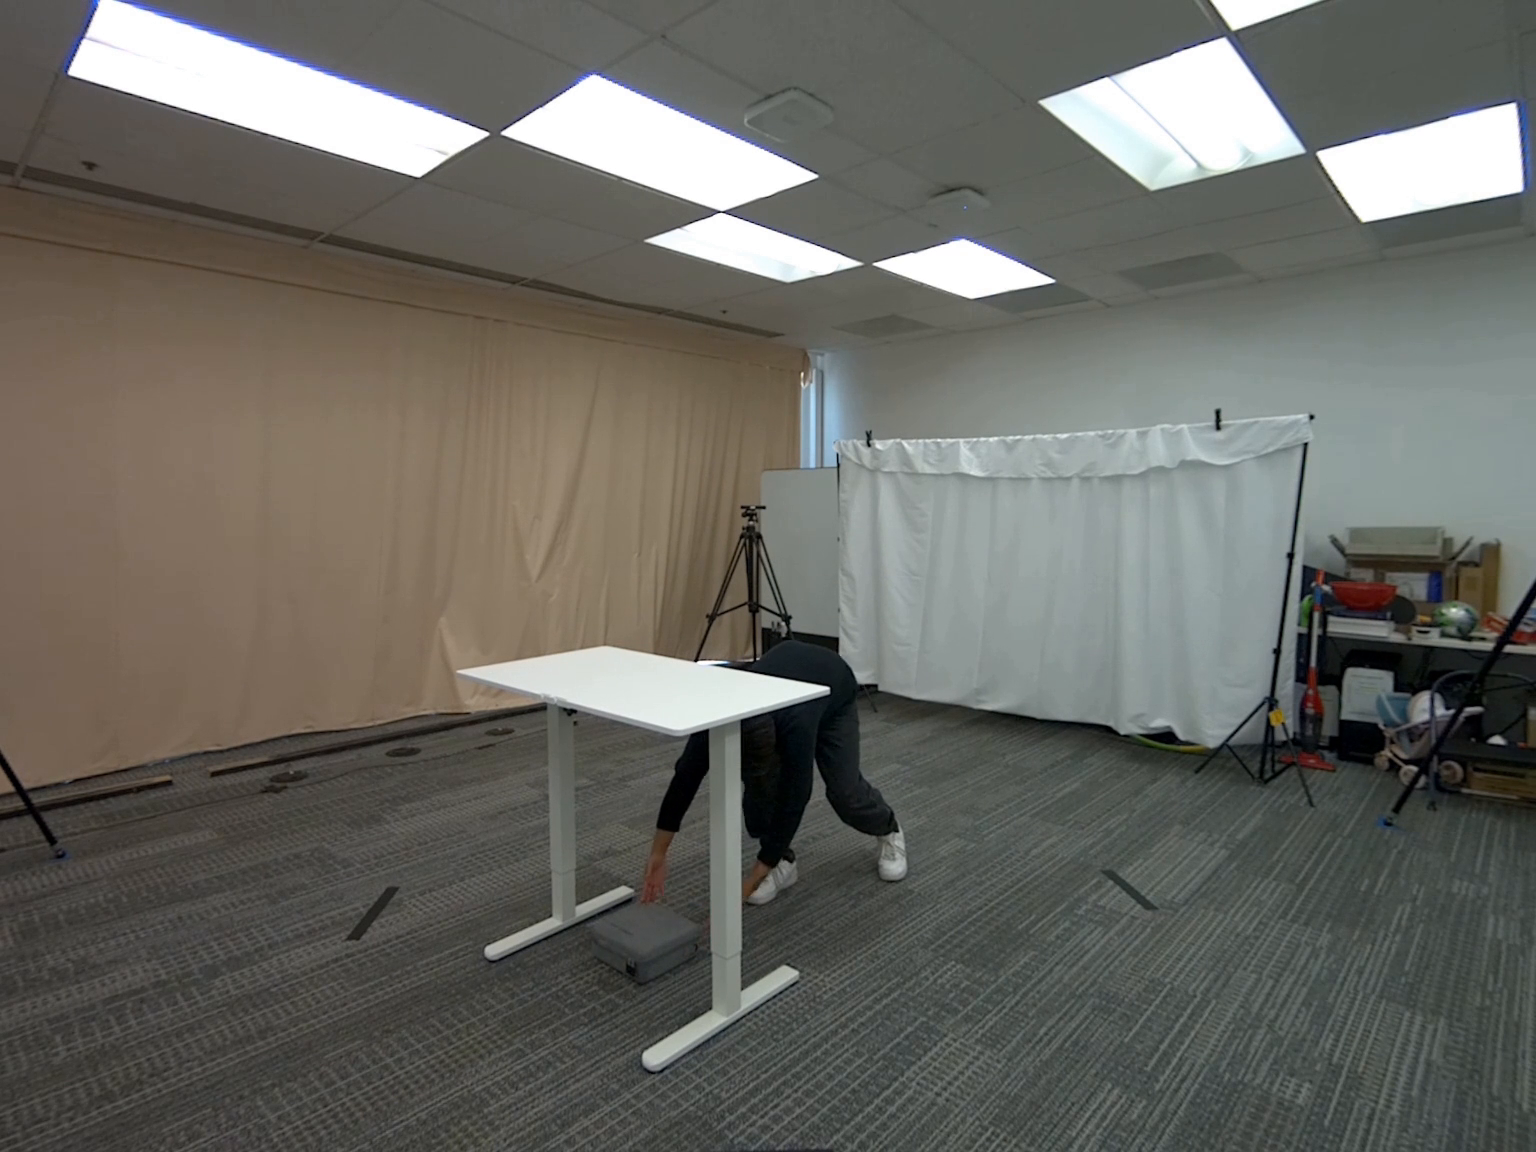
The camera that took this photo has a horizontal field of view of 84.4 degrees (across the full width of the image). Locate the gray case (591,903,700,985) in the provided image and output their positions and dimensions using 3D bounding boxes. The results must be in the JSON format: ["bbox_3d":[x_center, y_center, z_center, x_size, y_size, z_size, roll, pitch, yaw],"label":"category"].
[{"bbox_3d":[-0.375,1.116,2.602,0.269,0.104,0.249,4,5,42],"label":"gray case"}]
